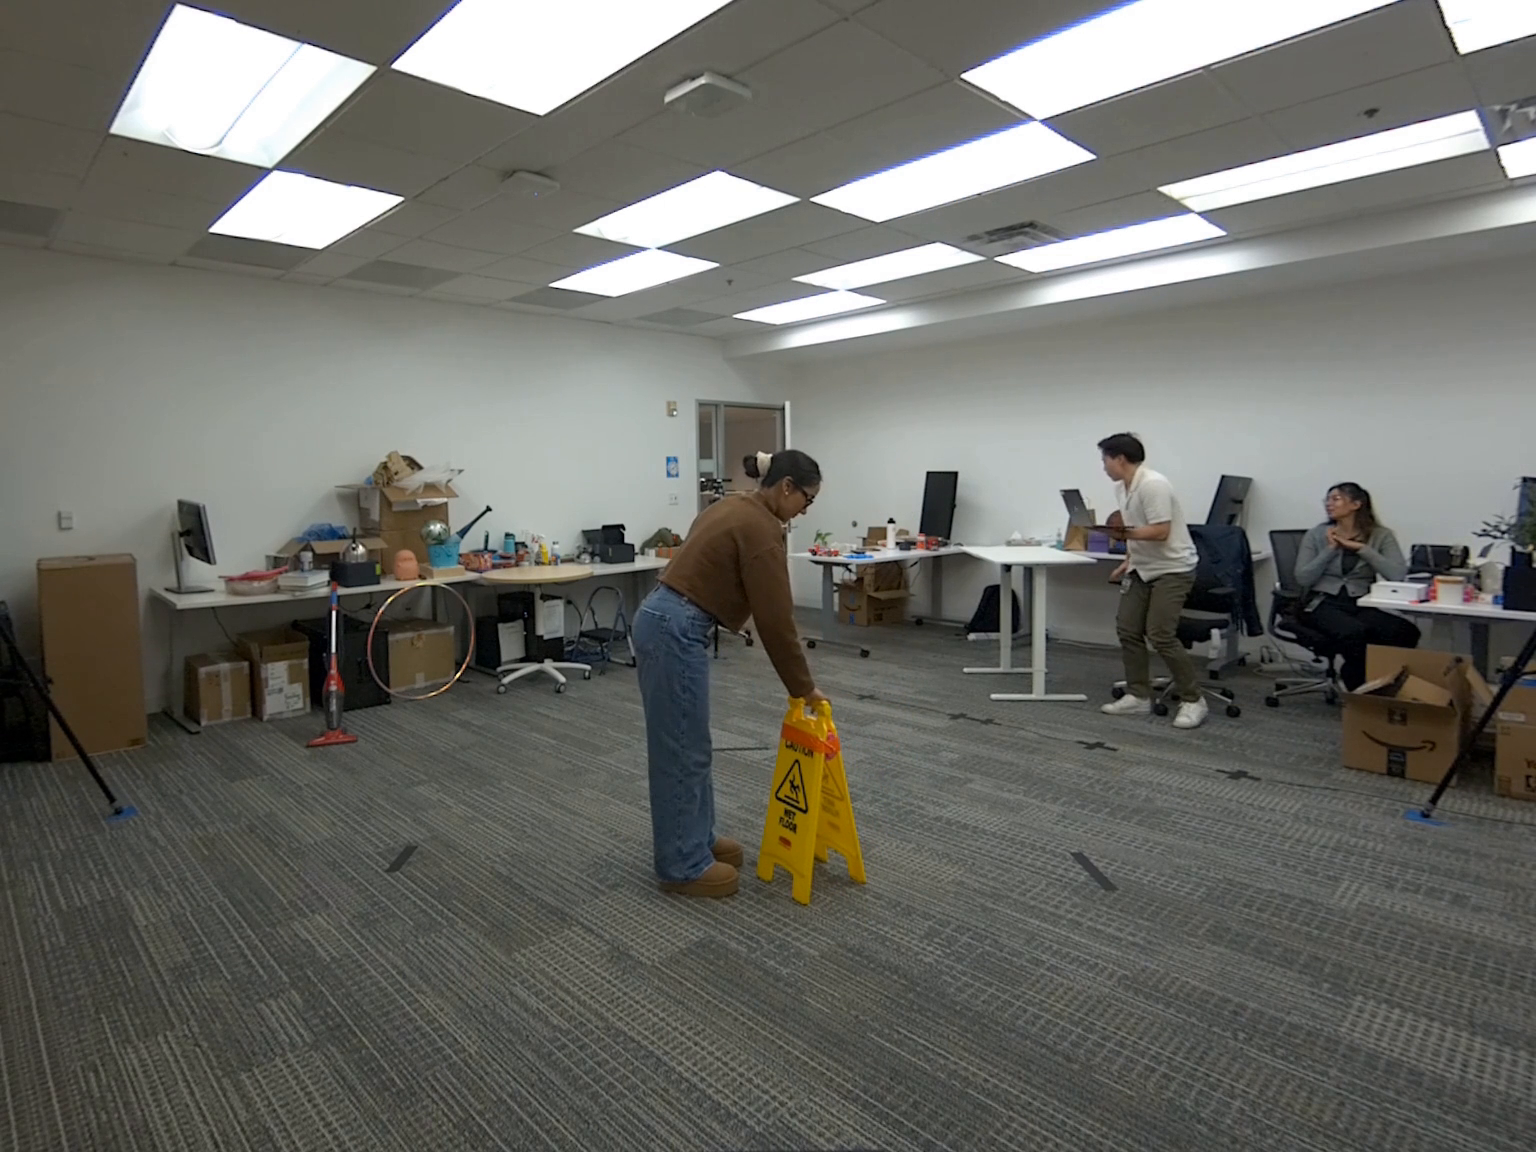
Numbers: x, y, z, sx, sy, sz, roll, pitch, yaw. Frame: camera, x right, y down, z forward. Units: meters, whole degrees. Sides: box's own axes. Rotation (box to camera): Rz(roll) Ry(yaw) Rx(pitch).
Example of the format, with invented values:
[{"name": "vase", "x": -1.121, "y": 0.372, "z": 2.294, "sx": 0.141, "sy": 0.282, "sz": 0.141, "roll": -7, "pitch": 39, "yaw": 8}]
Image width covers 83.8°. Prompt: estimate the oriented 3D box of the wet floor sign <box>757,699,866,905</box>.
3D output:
[{"name": "wet floor sign", "x": 0.143, "y": 0.729, "z": 2.951, "sx": 0.282, "sy": 0.644, "sz": 0.290, "roll": -4, "pitch": 4, "yaw": -36}]
